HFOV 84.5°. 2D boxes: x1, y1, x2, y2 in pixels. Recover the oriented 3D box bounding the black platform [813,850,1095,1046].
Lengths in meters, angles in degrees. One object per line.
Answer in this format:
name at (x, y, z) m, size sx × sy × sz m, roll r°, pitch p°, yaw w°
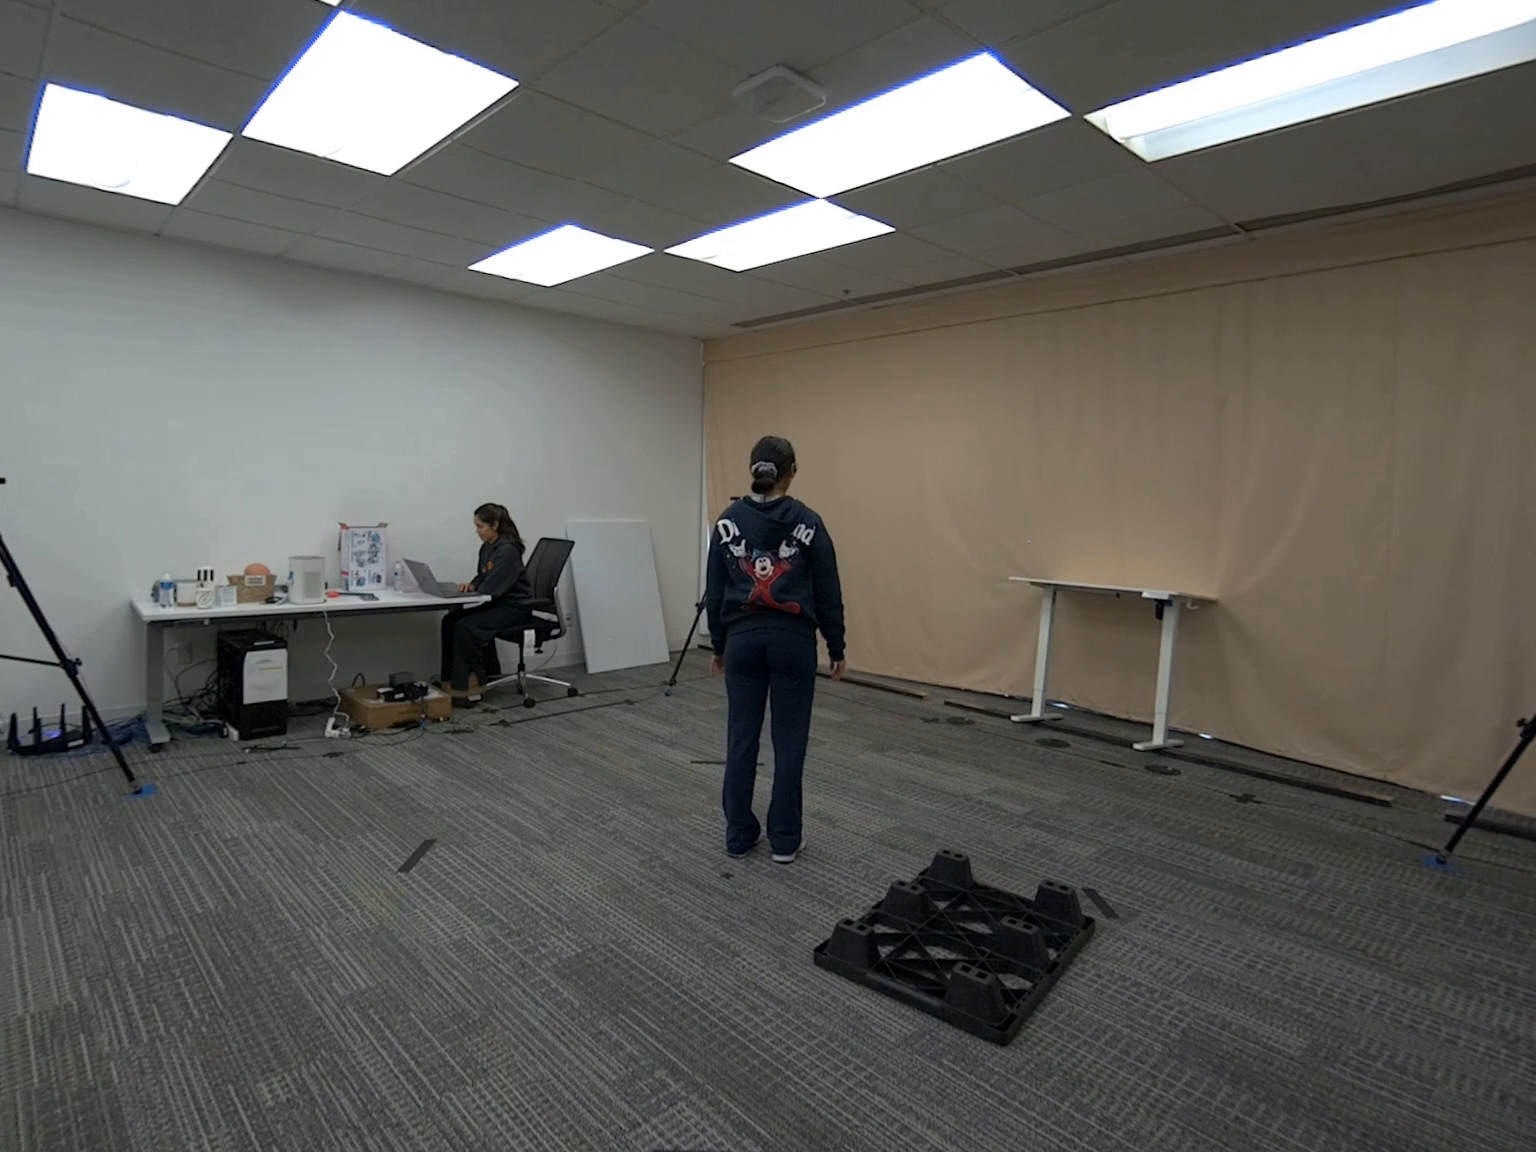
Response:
black platform at (0.601, 1.101, 2.657) m, size 0.620 × 0.143 × 0.788 m, roll 6°, pitch 7°, yaw 37°
